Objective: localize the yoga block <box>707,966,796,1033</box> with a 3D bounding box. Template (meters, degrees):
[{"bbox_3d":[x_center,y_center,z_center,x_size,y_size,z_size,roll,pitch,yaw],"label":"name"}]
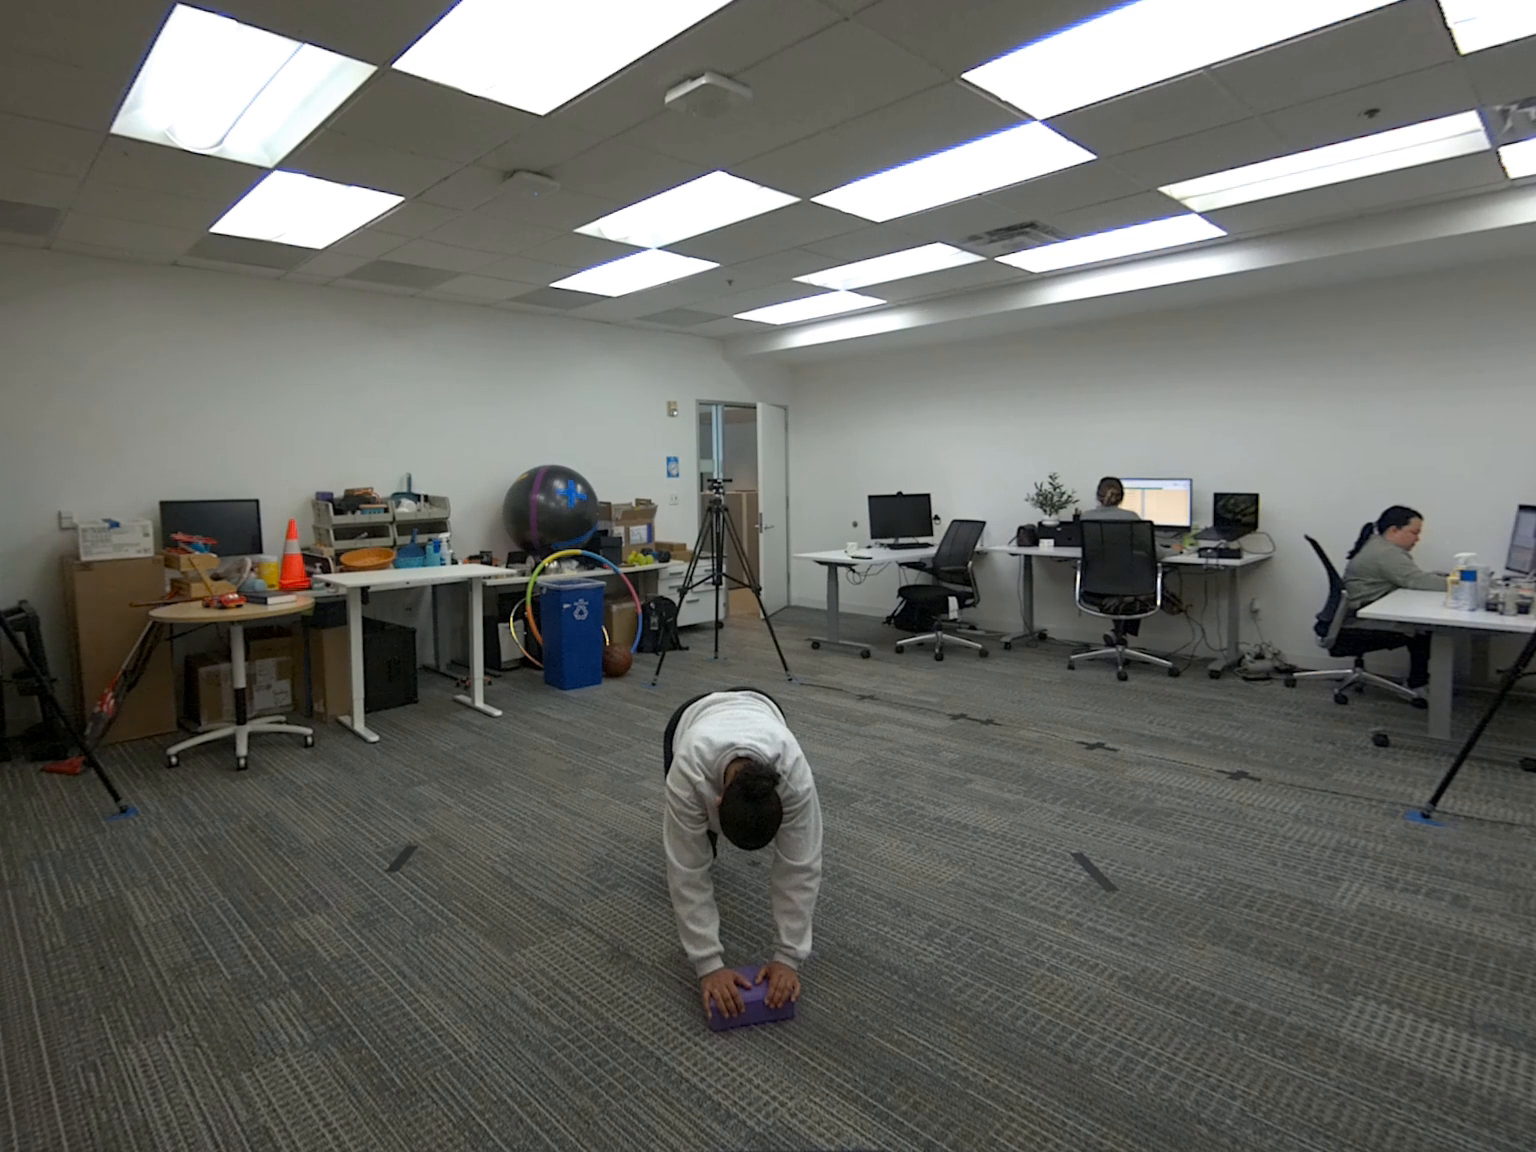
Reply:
[{"bbox_3d":[-0.045,1.118,2.255,0.227,0.076,0.151,-3,4,-12],"label":"yoga block"}]
